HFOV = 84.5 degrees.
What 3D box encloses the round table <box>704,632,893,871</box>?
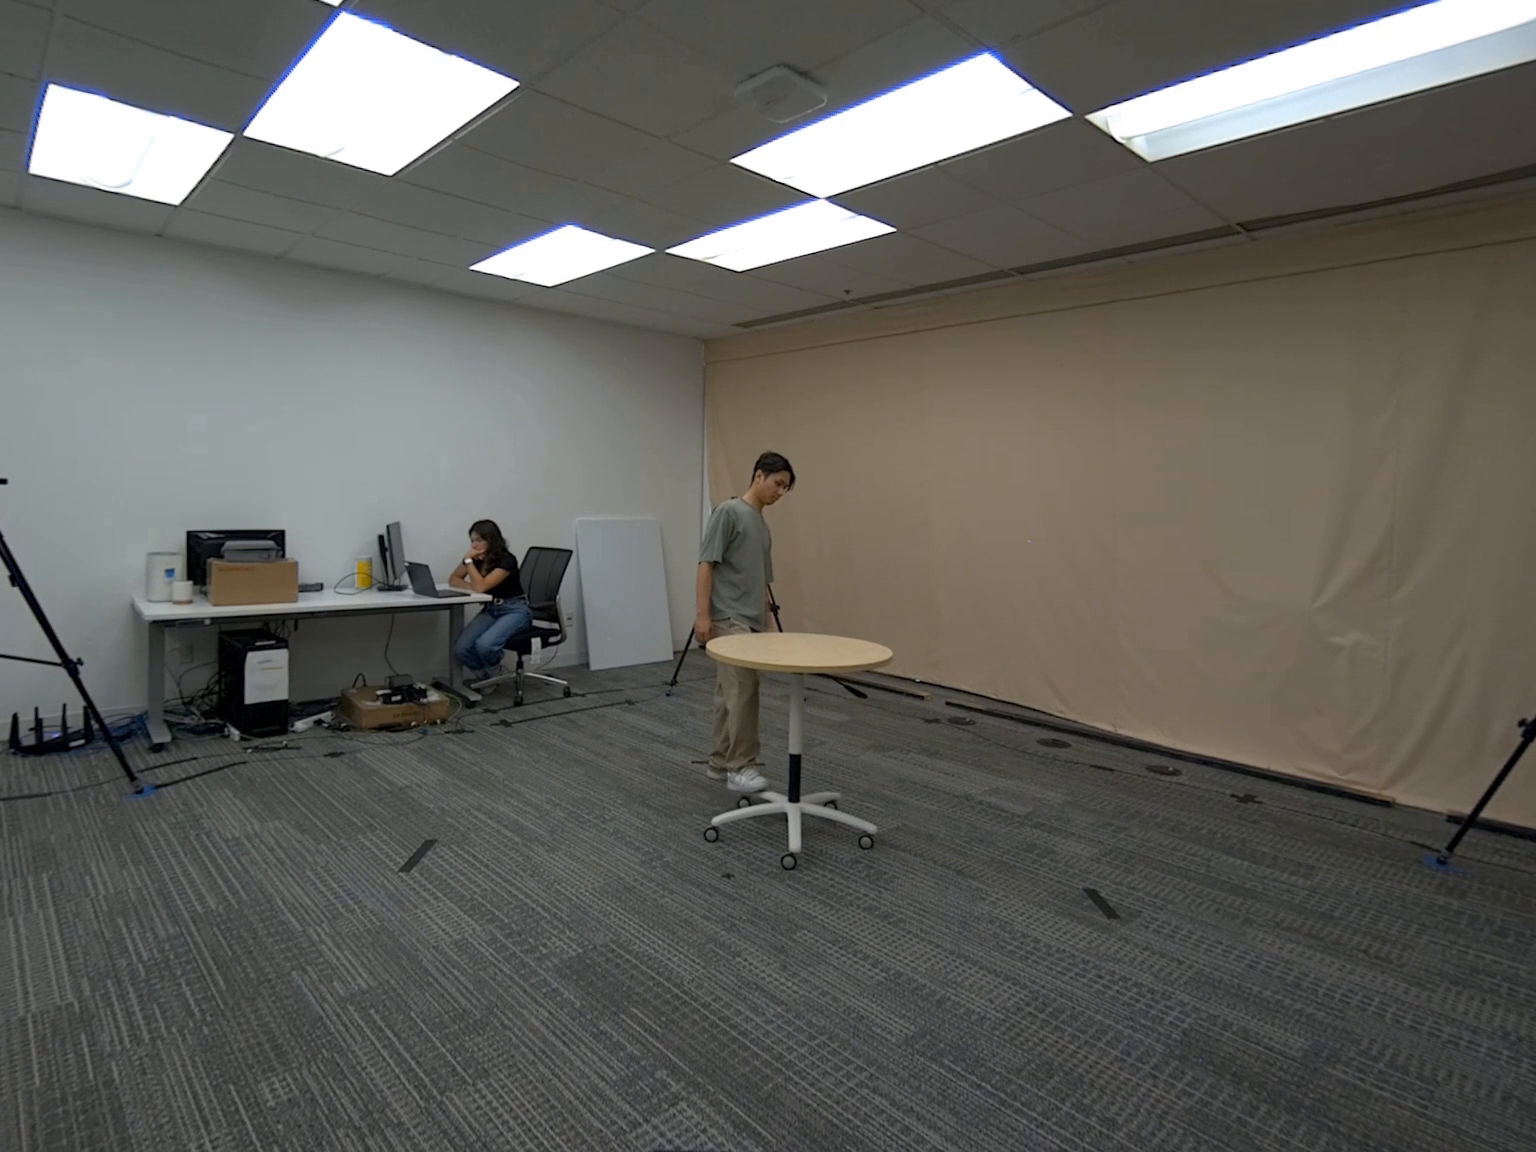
[{"bbox_3d":[0.116,0.687,3.476,0.784,0.784,0.788,2,4,-1],"label":"round table"}]
